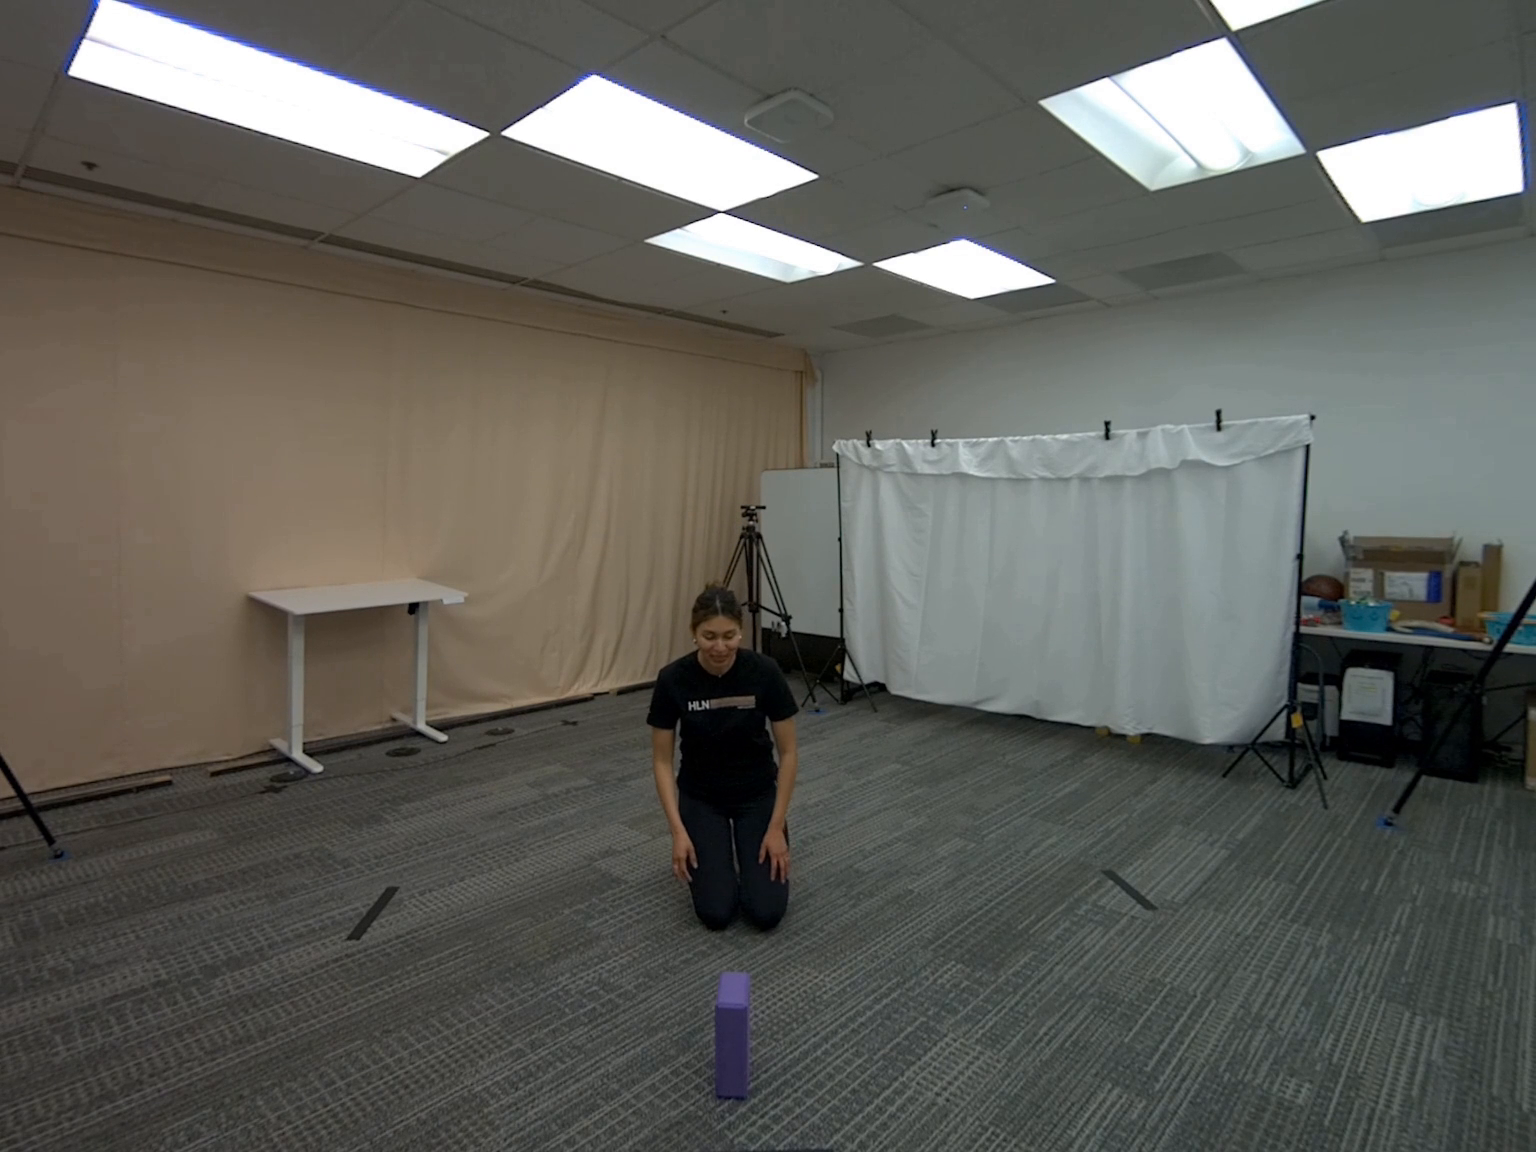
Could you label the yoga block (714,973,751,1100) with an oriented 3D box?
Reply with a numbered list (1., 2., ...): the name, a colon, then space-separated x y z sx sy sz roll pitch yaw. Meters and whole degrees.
1. yoga block: -0.088 1.105 2.040 0.077 0.229 0.148 0 3 4
